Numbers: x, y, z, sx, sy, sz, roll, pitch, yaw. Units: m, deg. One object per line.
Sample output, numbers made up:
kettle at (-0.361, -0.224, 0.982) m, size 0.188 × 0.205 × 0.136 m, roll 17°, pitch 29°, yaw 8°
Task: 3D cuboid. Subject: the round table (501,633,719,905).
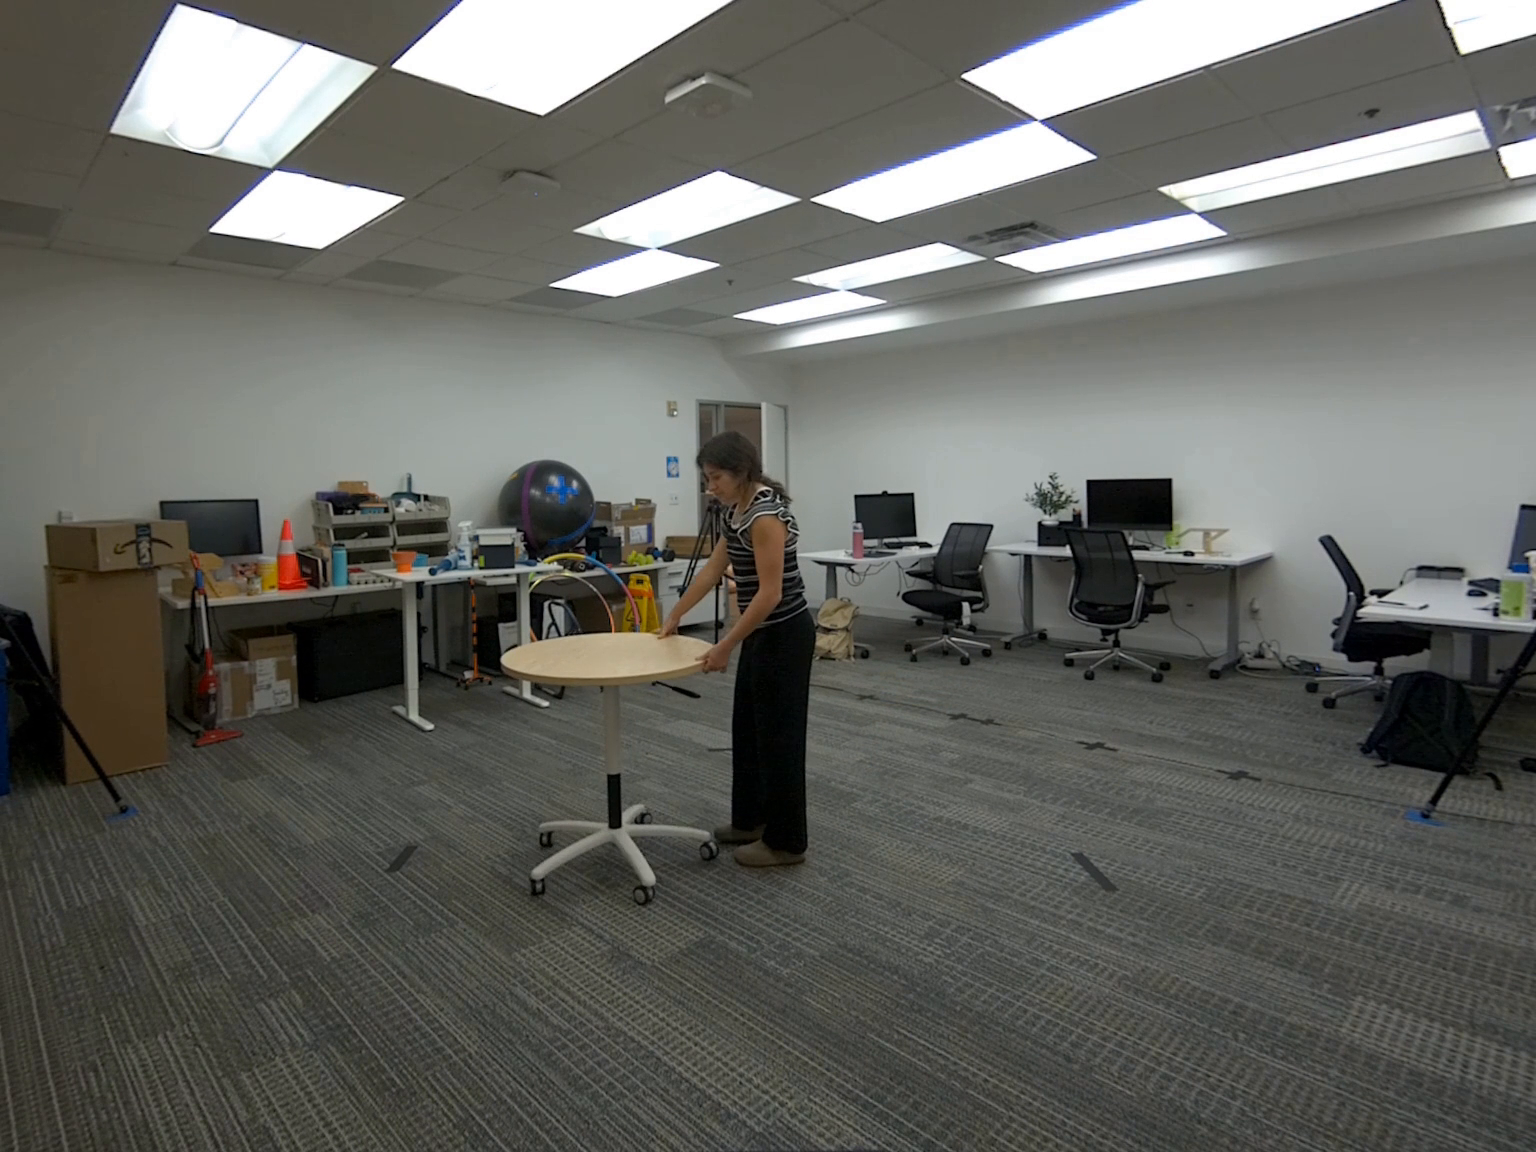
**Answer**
round table at (-0.545, 0.659, 3.097) m, size 0.784 × 0.783 × 0.789 m, roll -2°, pitch 5°, yaw -2°
